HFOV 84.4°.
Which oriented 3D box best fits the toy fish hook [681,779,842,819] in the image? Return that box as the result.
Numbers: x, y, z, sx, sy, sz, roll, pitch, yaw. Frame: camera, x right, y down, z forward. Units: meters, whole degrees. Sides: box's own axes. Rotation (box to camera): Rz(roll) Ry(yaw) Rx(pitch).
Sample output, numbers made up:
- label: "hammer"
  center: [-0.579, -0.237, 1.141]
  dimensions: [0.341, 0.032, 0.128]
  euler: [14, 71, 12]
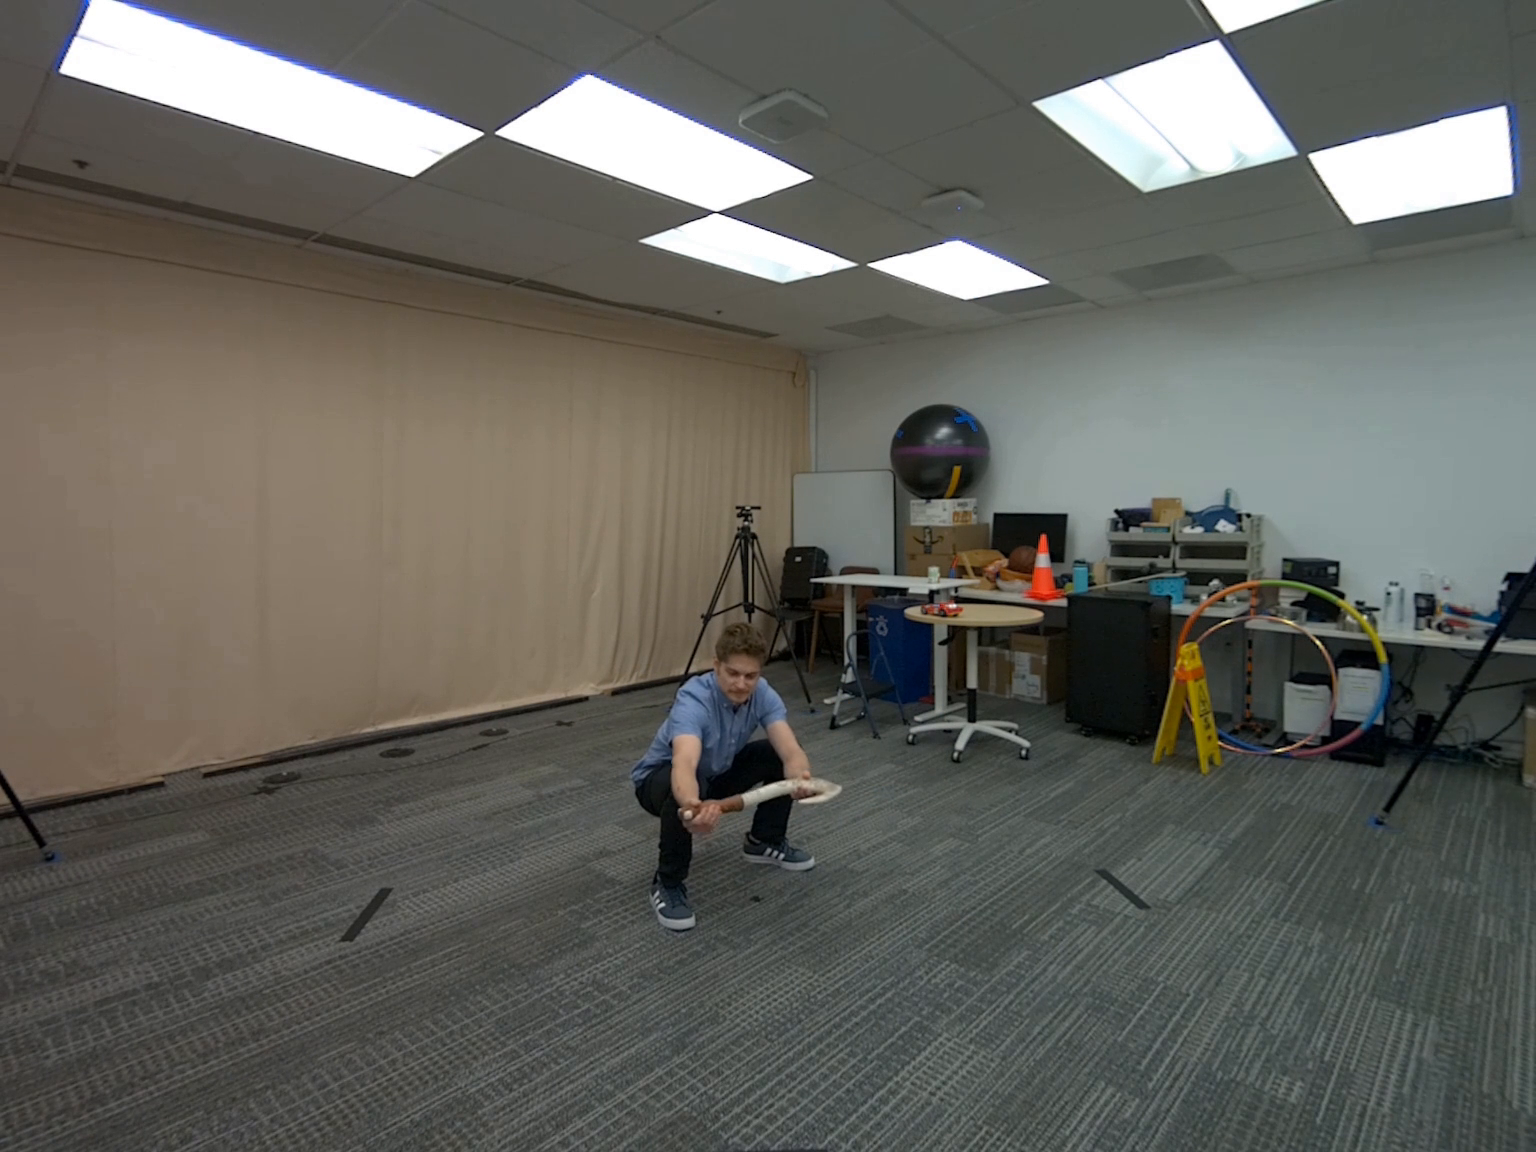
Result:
- label: "toy fish hook"
  center: [0.000, 0.638, 2.397]
  dimensions: [0.492, 0.048, 0.230]
  euler: [-4, -5, -35]
